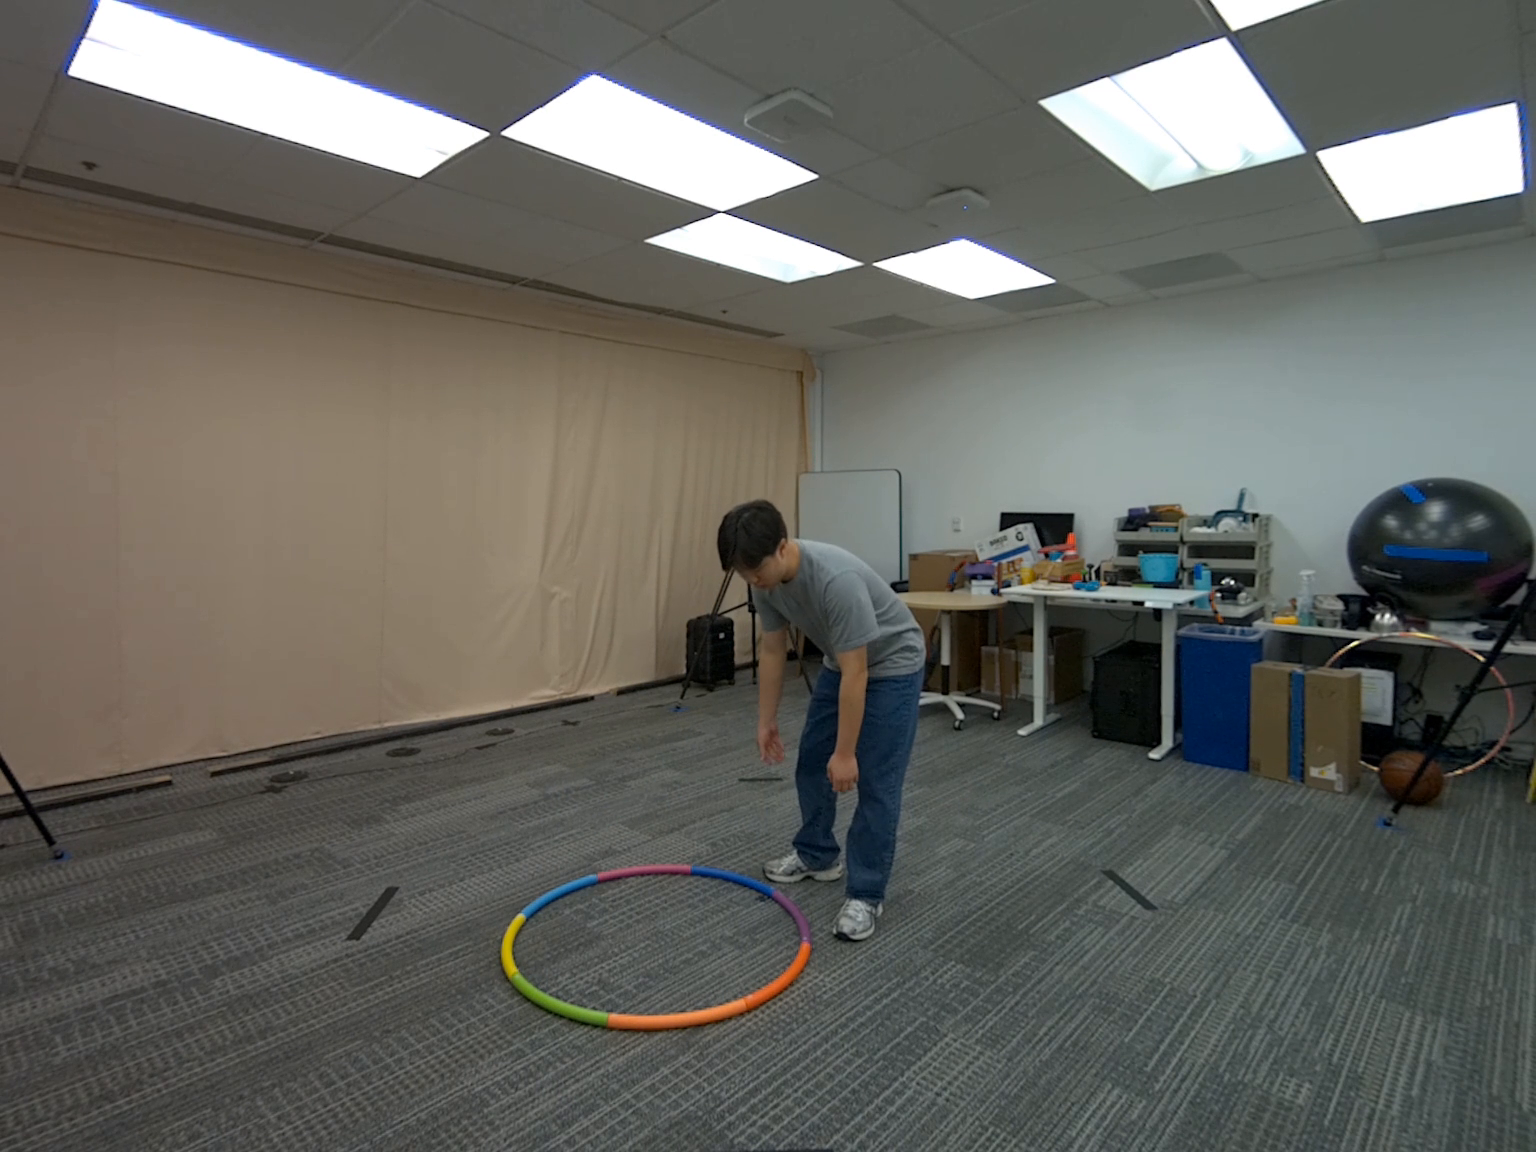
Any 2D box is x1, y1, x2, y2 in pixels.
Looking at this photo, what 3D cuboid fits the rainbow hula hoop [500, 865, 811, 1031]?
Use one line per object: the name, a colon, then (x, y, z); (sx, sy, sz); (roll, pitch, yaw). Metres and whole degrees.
rainbow hula hoop: (-0.352, 1.141, 2.723); (0.978, 0.035, 0.982); (-1, 5, -2)
